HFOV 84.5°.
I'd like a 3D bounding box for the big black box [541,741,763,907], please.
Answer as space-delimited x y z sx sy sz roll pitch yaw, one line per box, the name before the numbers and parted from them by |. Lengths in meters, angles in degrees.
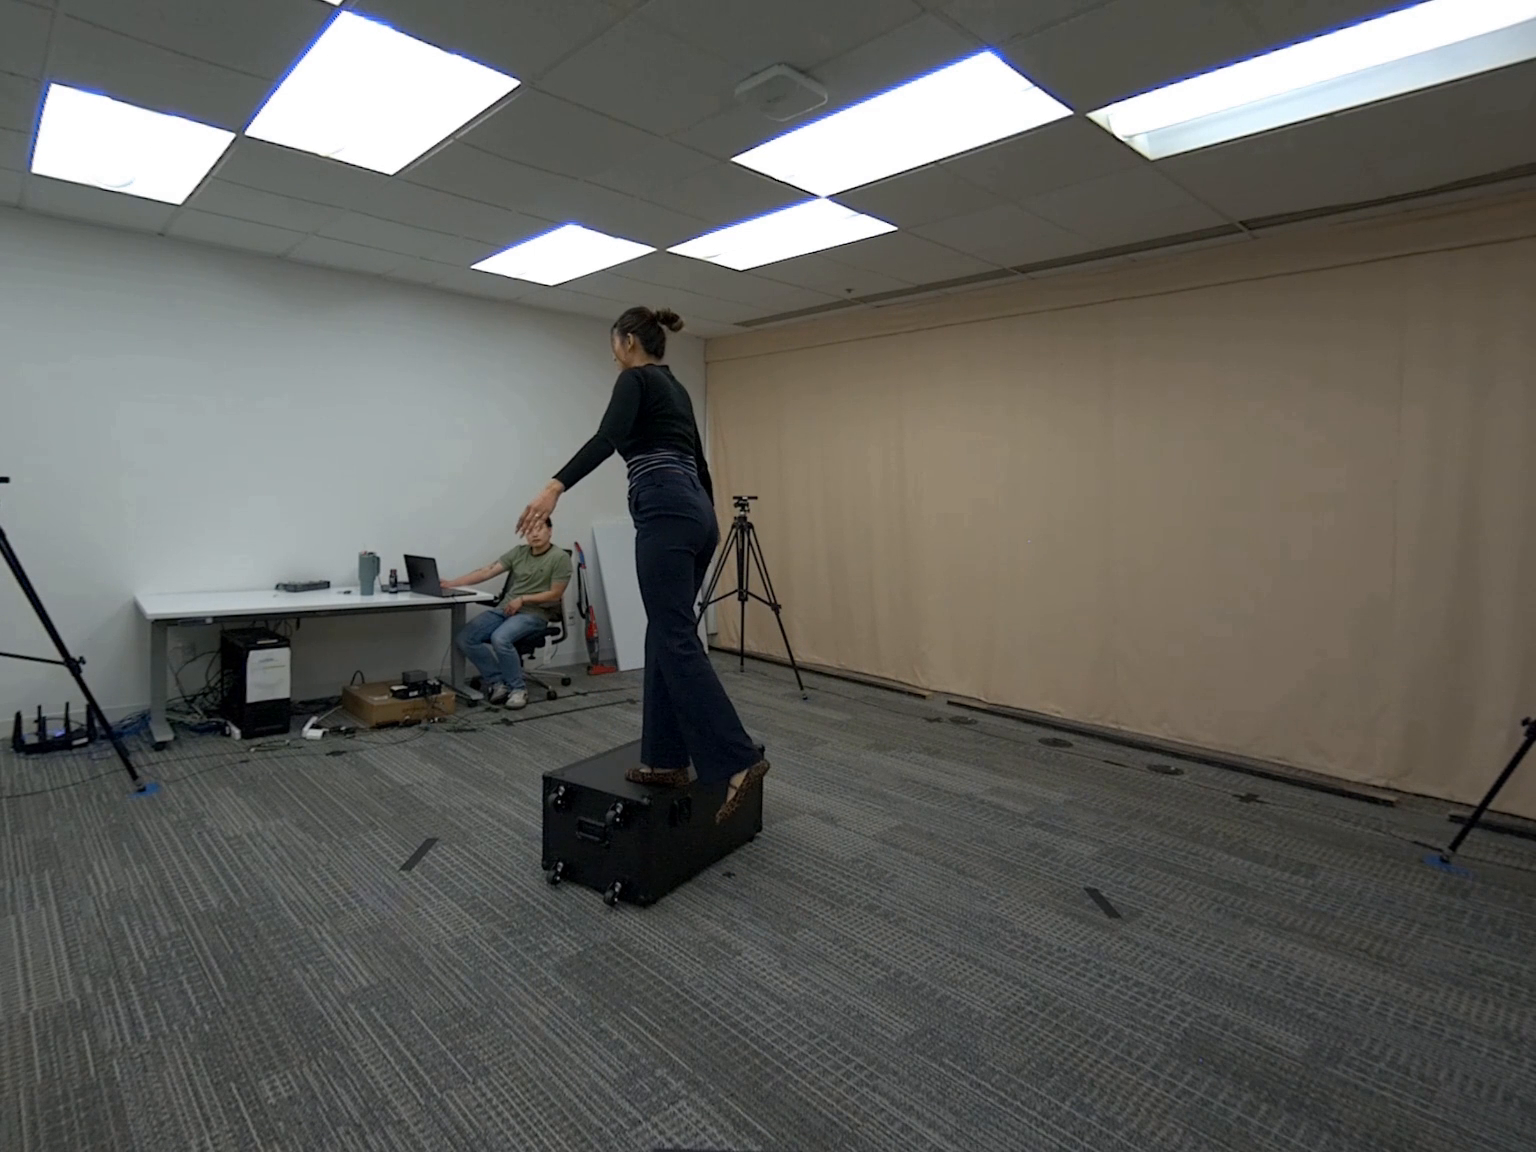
big black box | -0.444 0.897 3.229 0.533 0.395 0.845 5 6 30
